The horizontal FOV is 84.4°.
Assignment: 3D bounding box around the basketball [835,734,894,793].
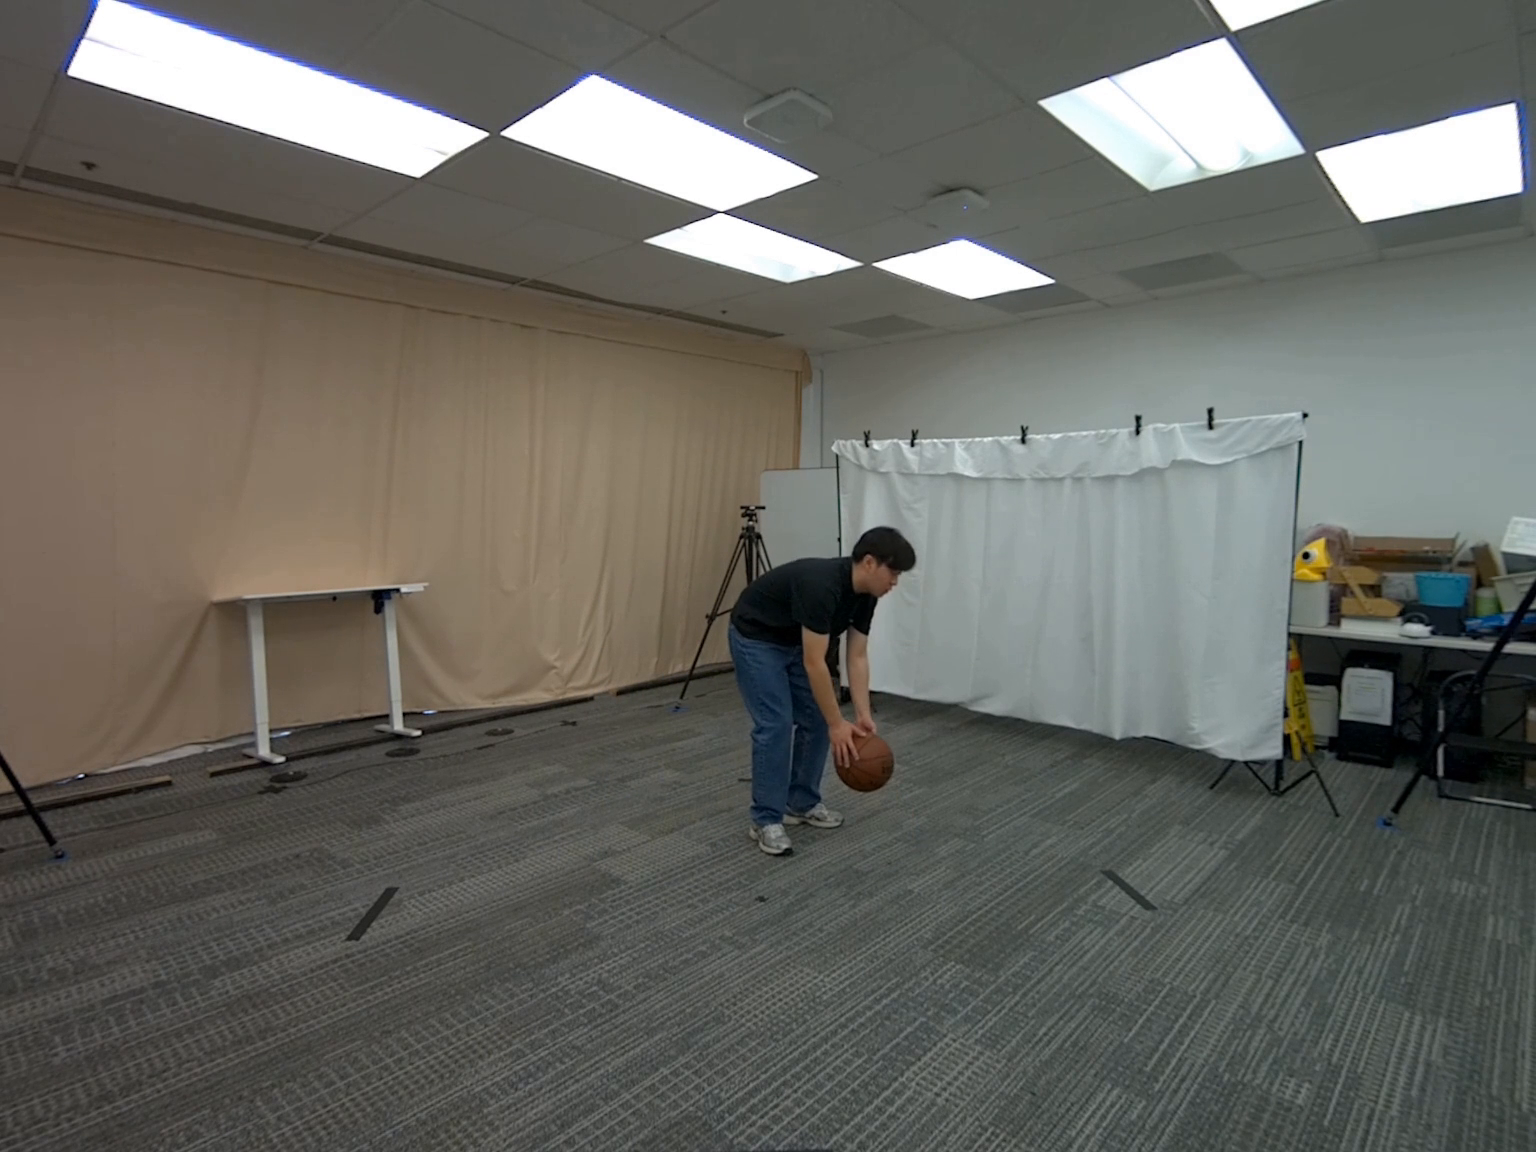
[{"bbox_3d":[0.392,0.743,3.381,0.236,0.235,0.237,0,4,-2],"label":"basketball"}]
